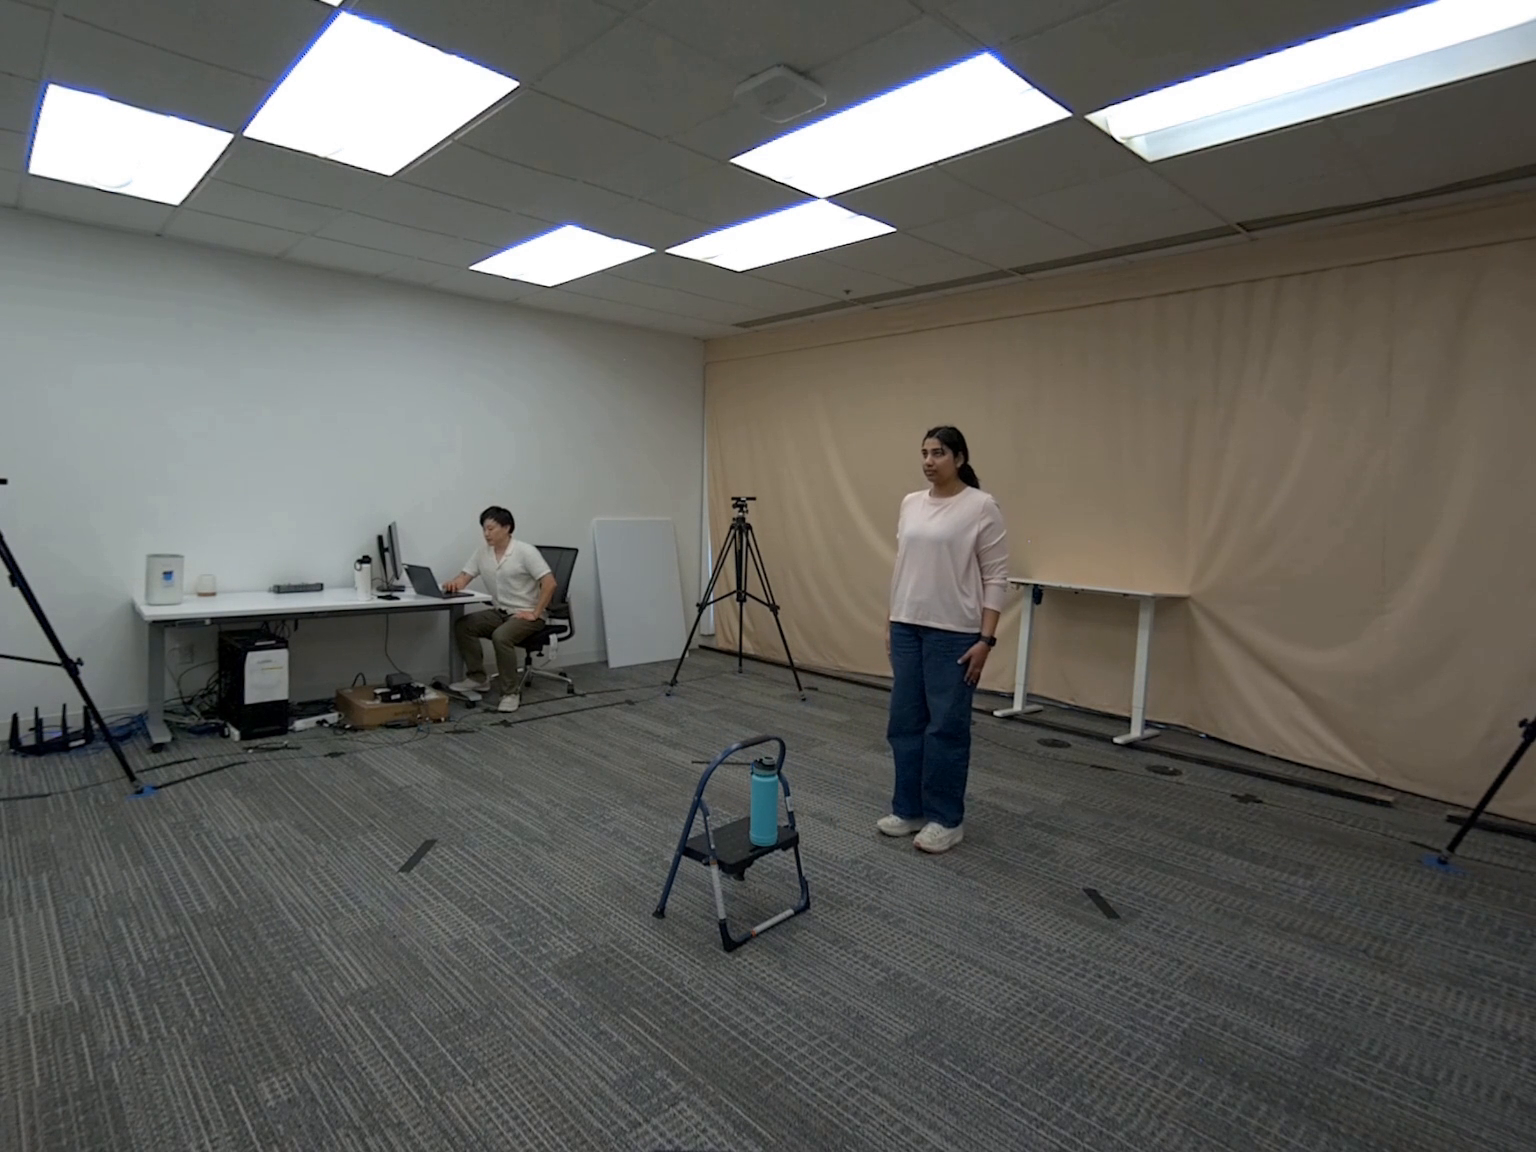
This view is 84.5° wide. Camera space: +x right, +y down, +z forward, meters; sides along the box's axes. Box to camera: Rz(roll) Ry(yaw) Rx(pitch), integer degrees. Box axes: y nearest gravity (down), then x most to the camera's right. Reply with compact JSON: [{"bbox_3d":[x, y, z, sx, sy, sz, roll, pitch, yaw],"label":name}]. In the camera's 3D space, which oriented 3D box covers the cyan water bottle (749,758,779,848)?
[{"bbox_3d":[-0.020,0.741,2.768,0.092,0.282,0.093,1,6,-1],"label":"cyan water bottle"}]
